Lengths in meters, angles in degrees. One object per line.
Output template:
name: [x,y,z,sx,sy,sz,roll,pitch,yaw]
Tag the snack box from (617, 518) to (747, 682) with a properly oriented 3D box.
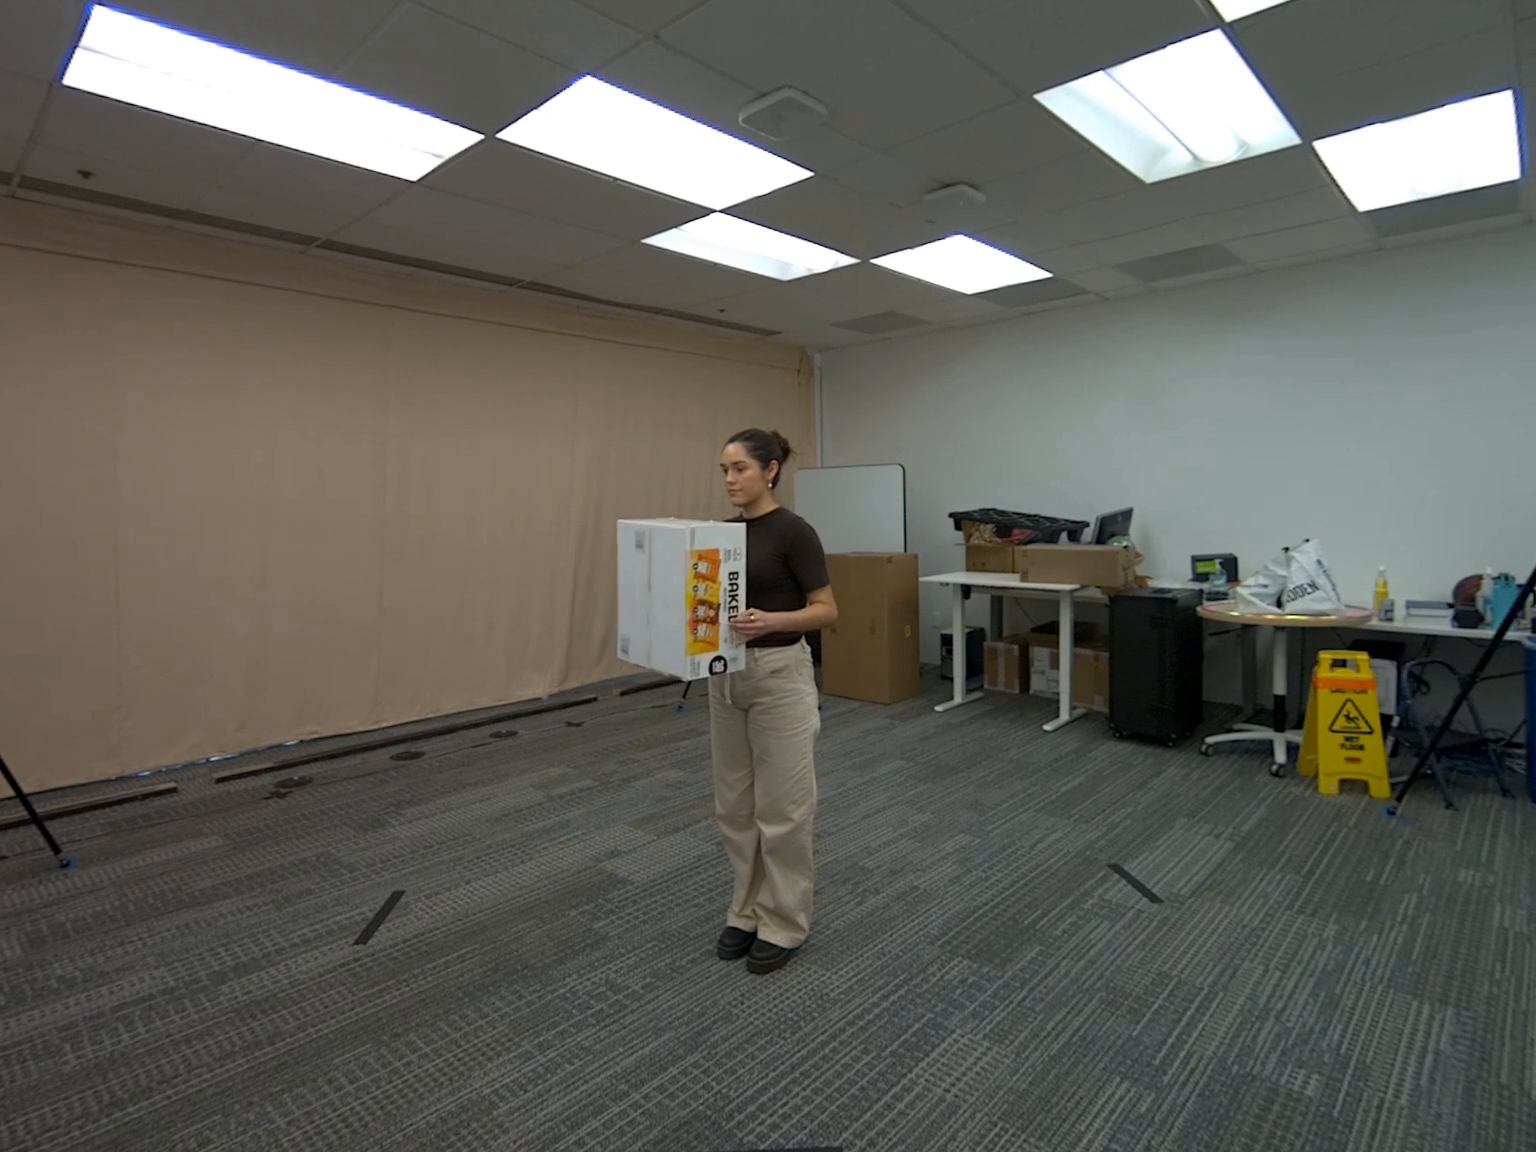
snack box: [-0.244,0.062,2.357,0.199,0.403,0.352,-5,8,-41]
